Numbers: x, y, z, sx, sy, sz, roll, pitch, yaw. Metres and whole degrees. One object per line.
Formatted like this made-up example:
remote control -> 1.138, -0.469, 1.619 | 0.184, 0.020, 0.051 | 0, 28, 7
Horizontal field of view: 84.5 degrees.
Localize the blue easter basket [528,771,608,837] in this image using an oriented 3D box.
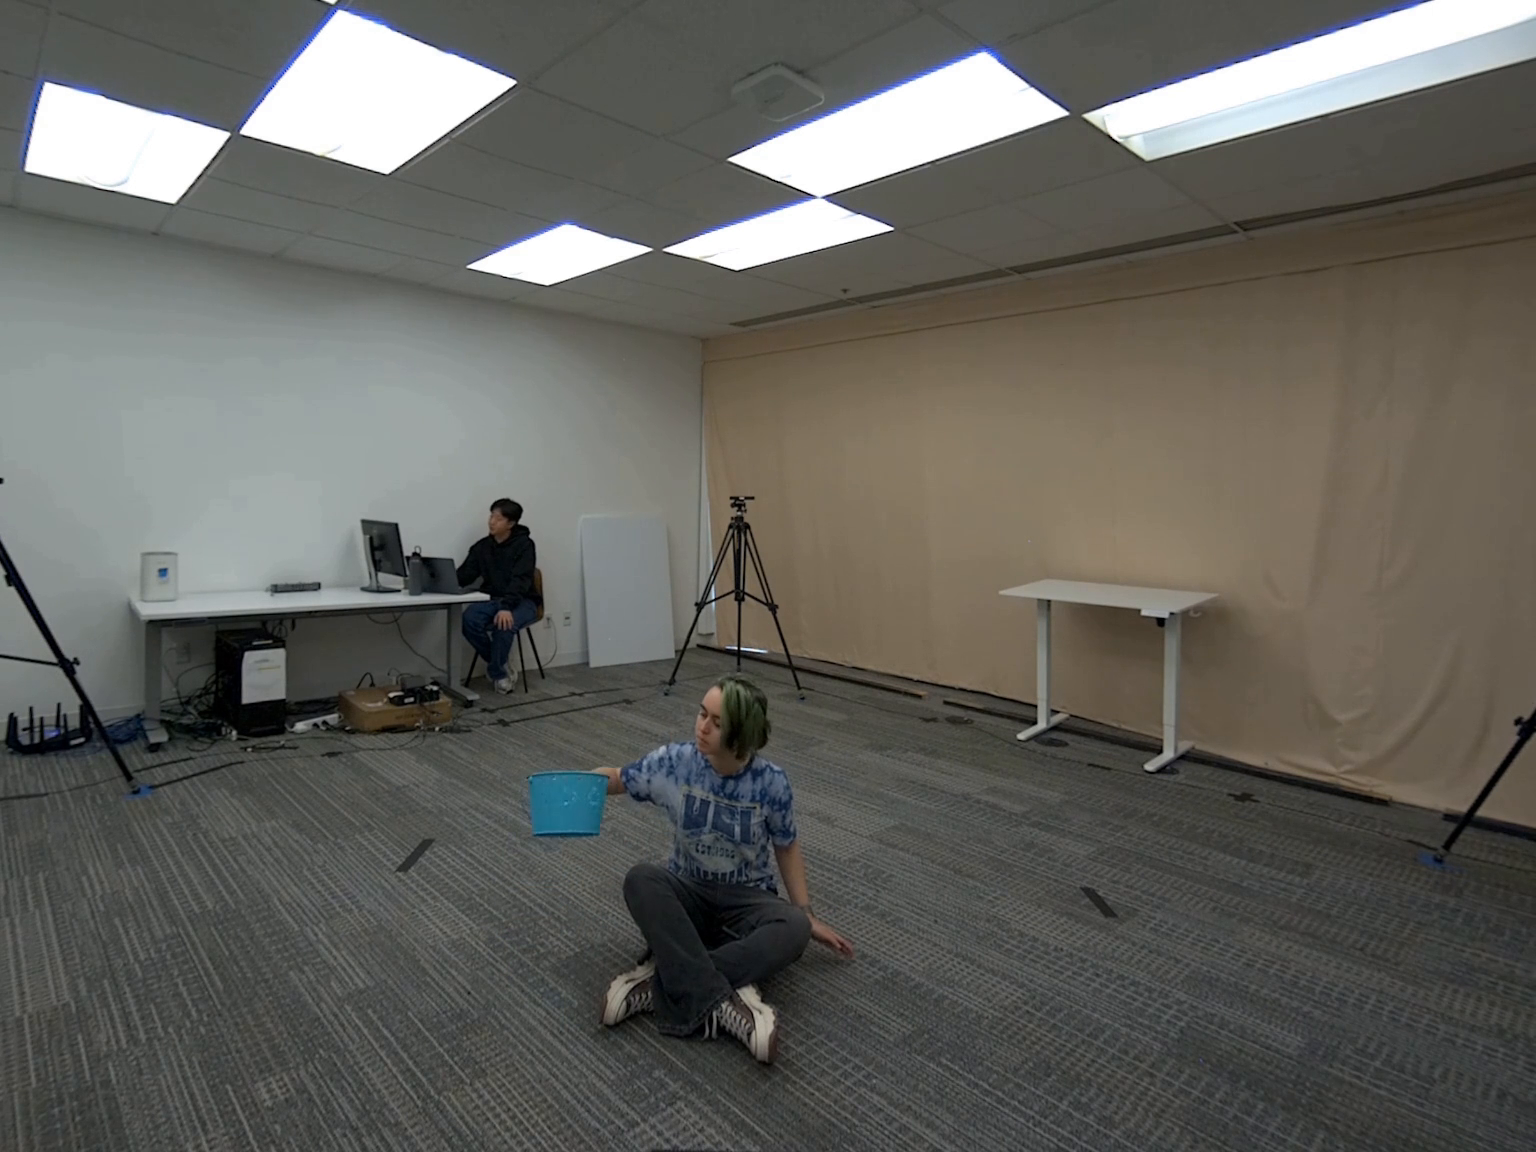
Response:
blue easter basket -> -0.559, 0.637, 2.306 | 0.243, 0.158, 0.240 | 0, -19, -1
